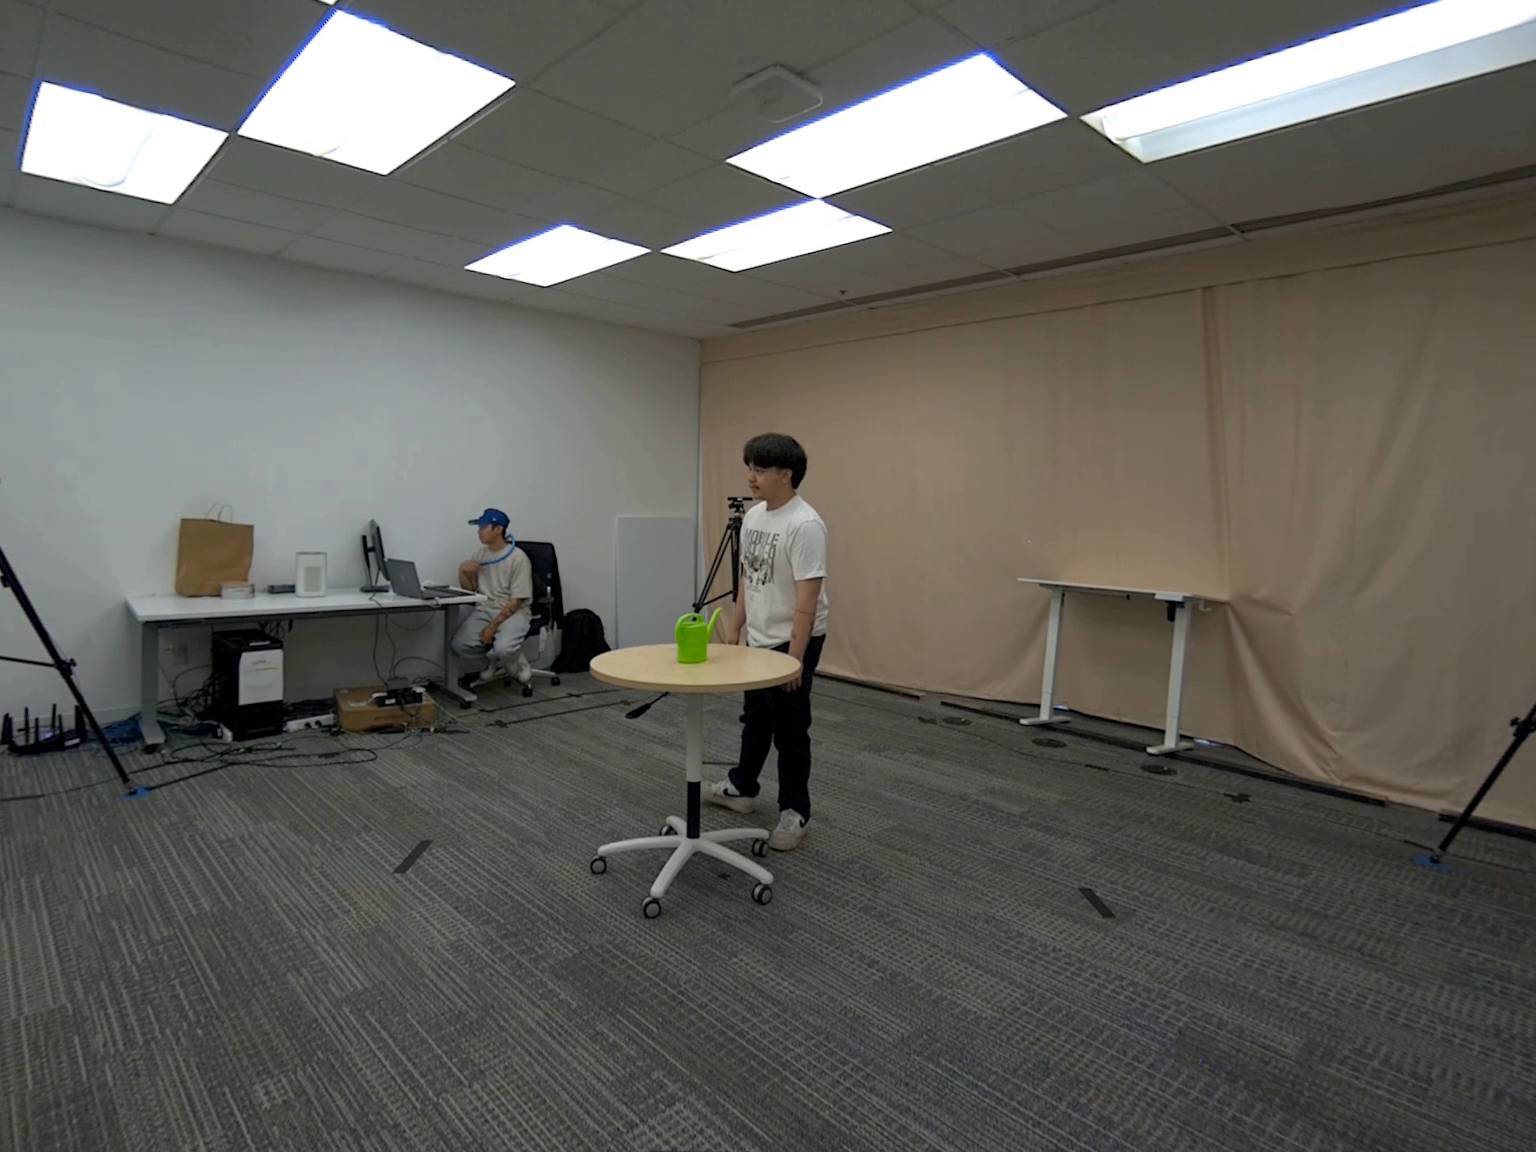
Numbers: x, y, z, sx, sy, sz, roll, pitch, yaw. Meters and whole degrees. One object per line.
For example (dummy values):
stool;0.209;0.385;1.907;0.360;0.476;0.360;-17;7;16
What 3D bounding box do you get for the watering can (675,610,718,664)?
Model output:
watering can;-0.259;0.221;3.117;0.100;0.176;0.272;5;7;42
